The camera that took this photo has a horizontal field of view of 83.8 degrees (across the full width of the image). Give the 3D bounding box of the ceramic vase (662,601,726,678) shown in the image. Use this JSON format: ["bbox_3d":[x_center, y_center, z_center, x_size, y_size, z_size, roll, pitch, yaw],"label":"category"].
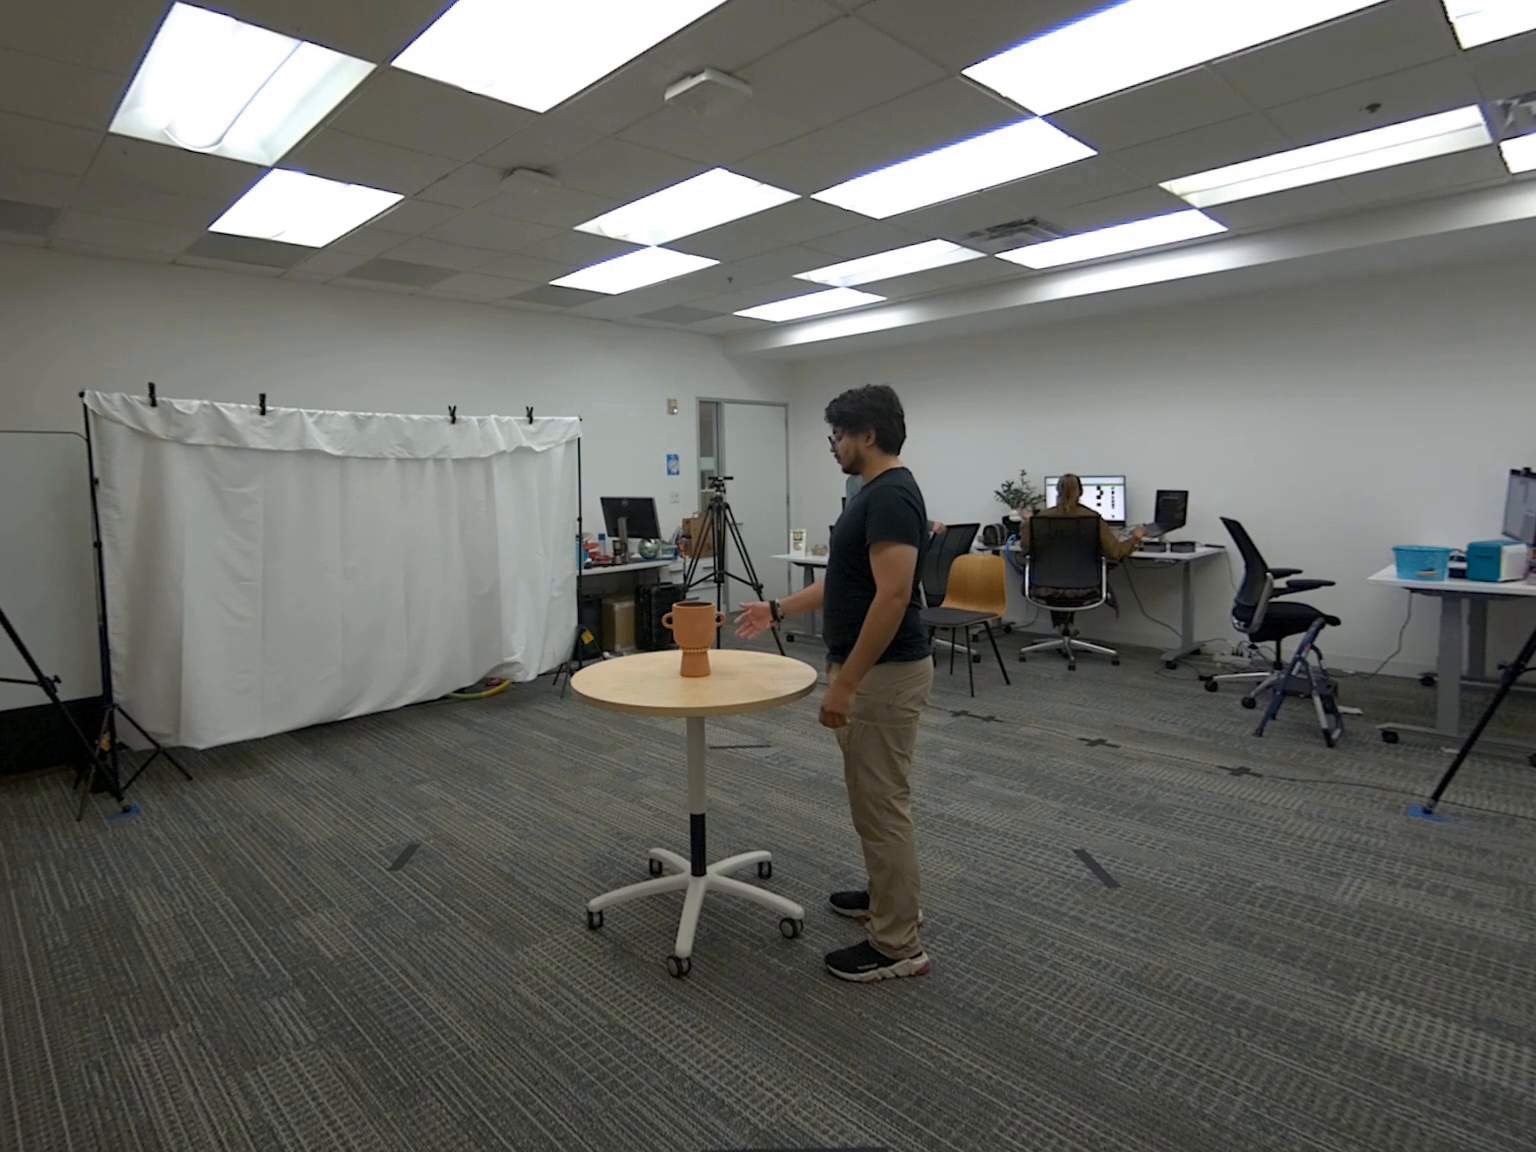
[{"bbox_3d":[-0.227,0.199,2.677,0.163,0.219,0.131,1,6,42],"label":"ceramic vase"}]
